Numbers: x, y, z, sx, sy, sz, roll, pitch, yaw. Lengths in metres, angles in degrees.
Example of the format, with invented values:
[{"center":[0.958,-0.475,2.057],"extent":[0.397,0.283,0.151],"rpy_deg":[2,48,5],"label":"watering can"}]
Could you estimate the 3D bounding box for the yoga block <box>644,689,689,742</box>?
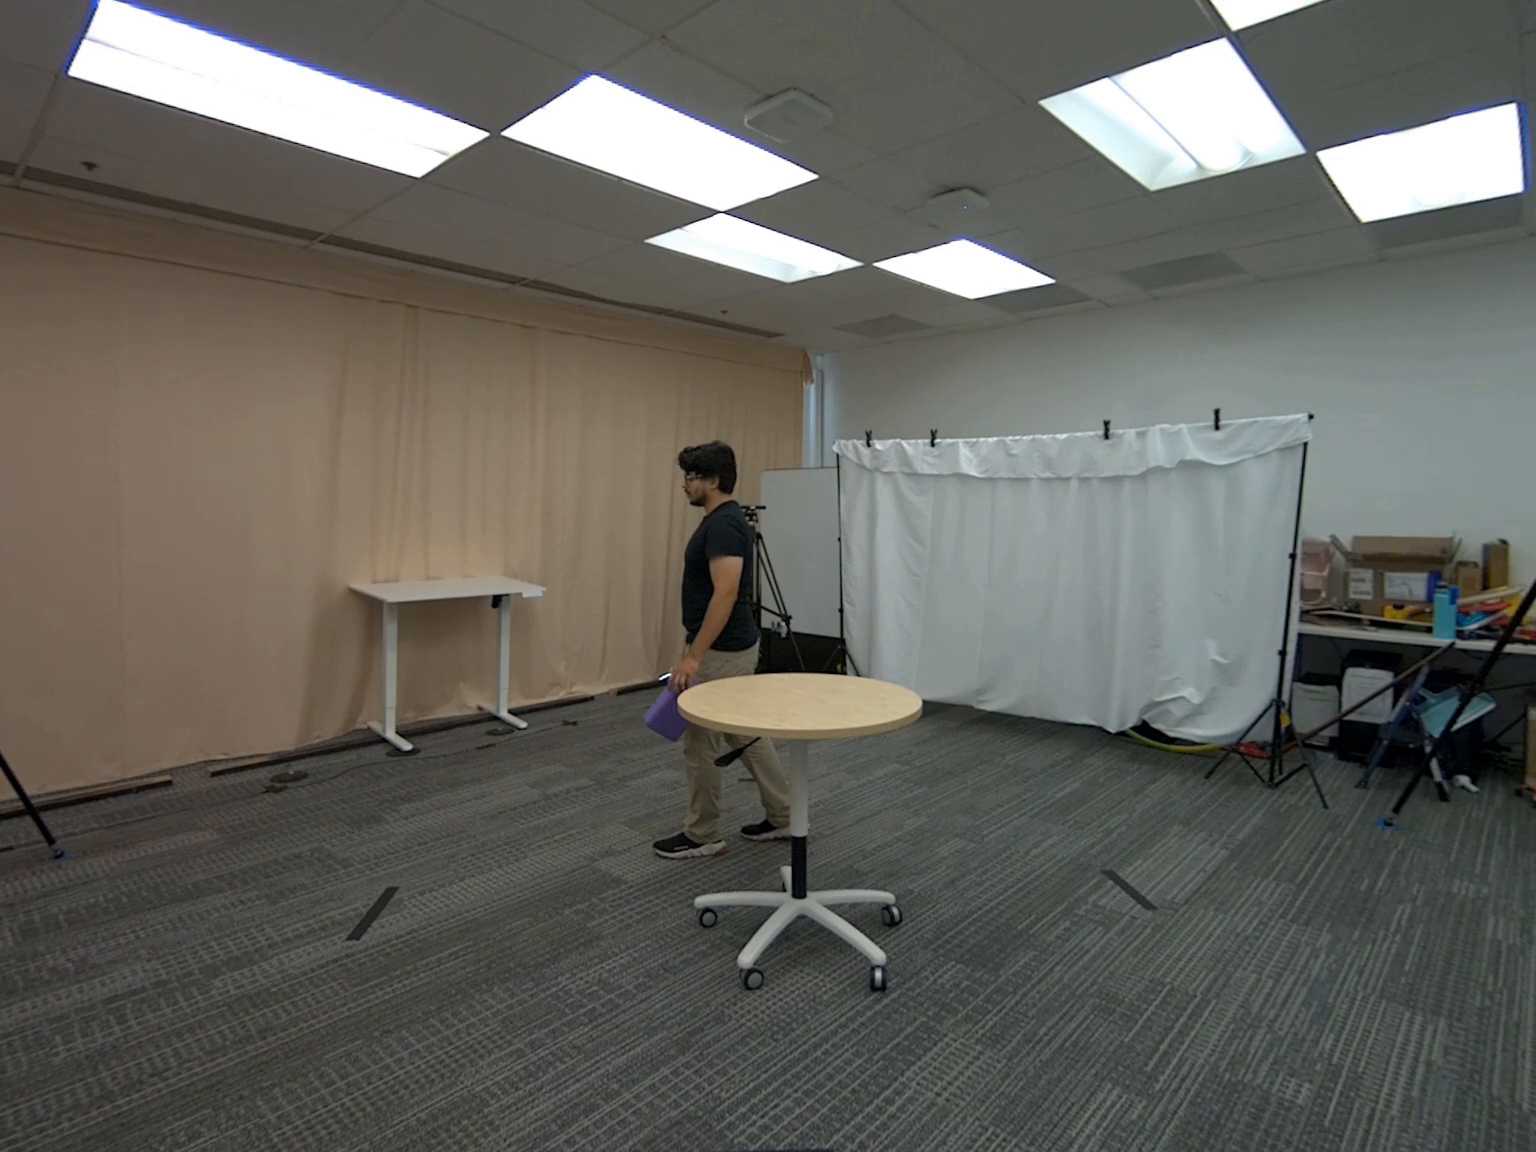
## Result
[{"center":[-0.338,0.489,3.140],"extent":[0.145,0.229,0.078],"rpy_deg":[35,7,-25],"label":"yoga block"}]
